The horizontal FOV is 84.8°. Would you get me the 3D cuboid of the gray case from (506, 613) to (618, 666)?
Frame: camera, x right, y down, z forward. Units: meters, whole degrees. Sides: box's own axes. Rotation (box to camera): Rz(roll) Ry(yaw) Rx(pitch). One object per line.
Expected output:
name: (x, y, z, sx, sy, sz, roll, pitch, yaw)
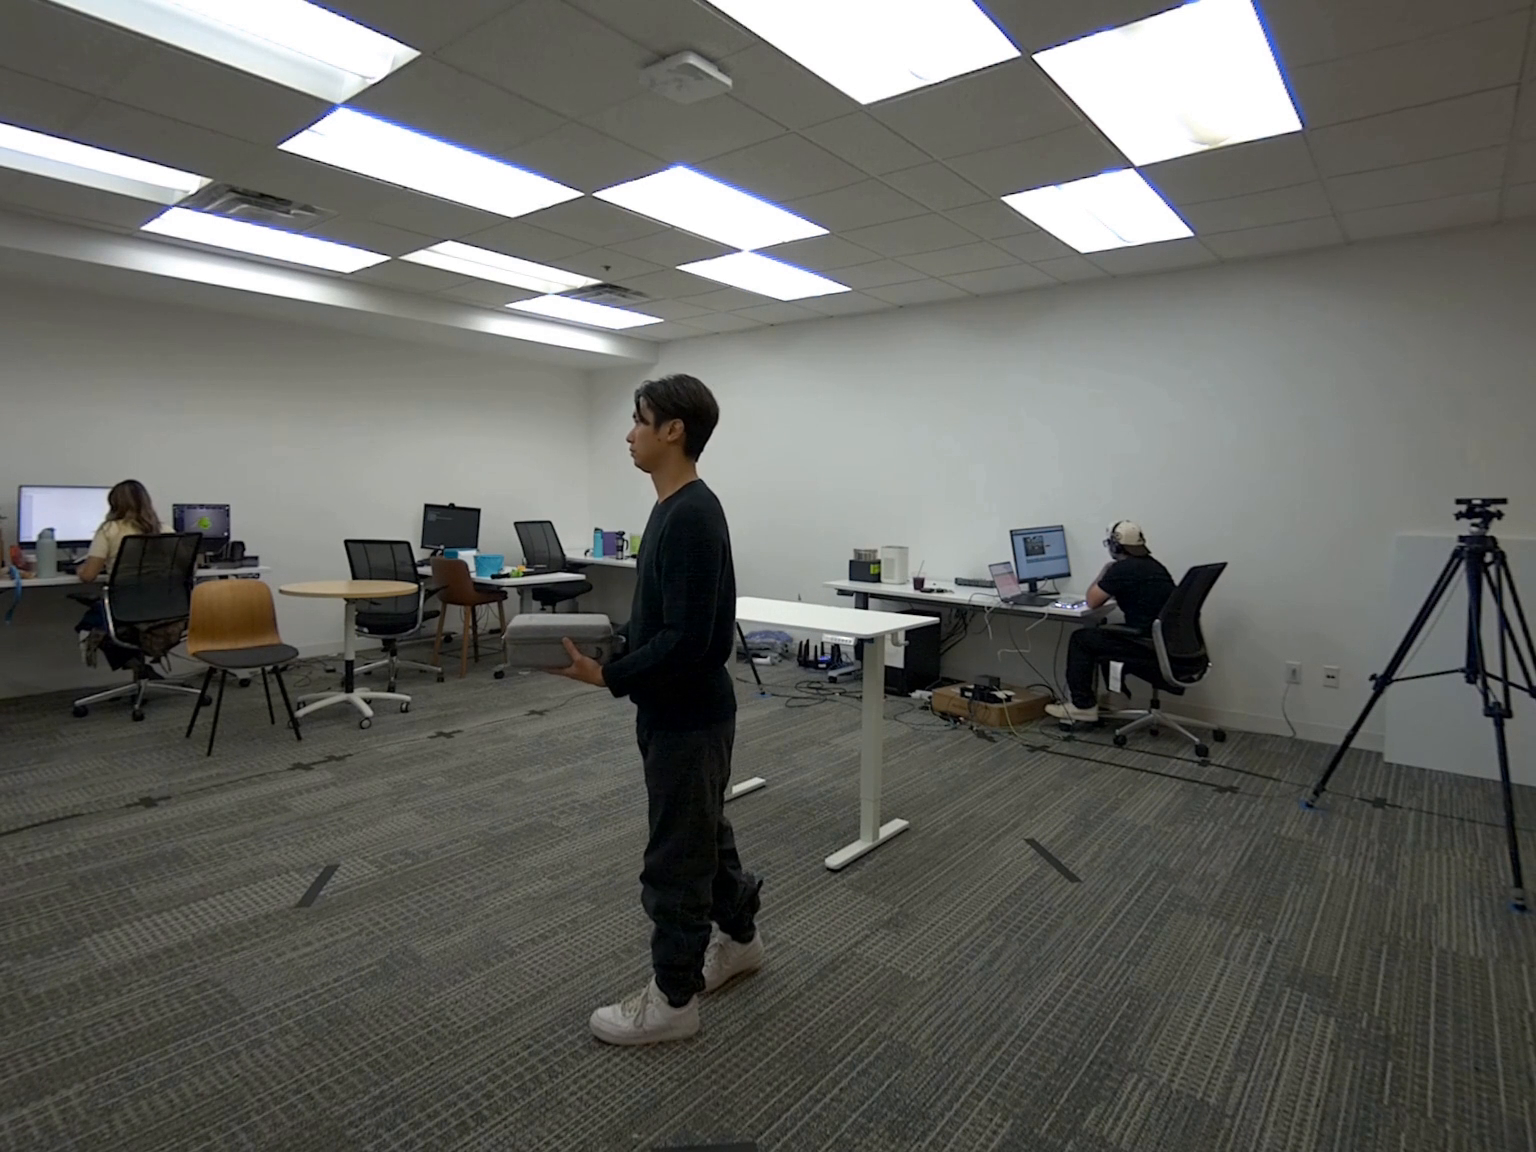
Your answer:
gray case: (-0.518, 0.153, 2.118, 0.254, 0.104, 0.263, 0, 0, -12)
